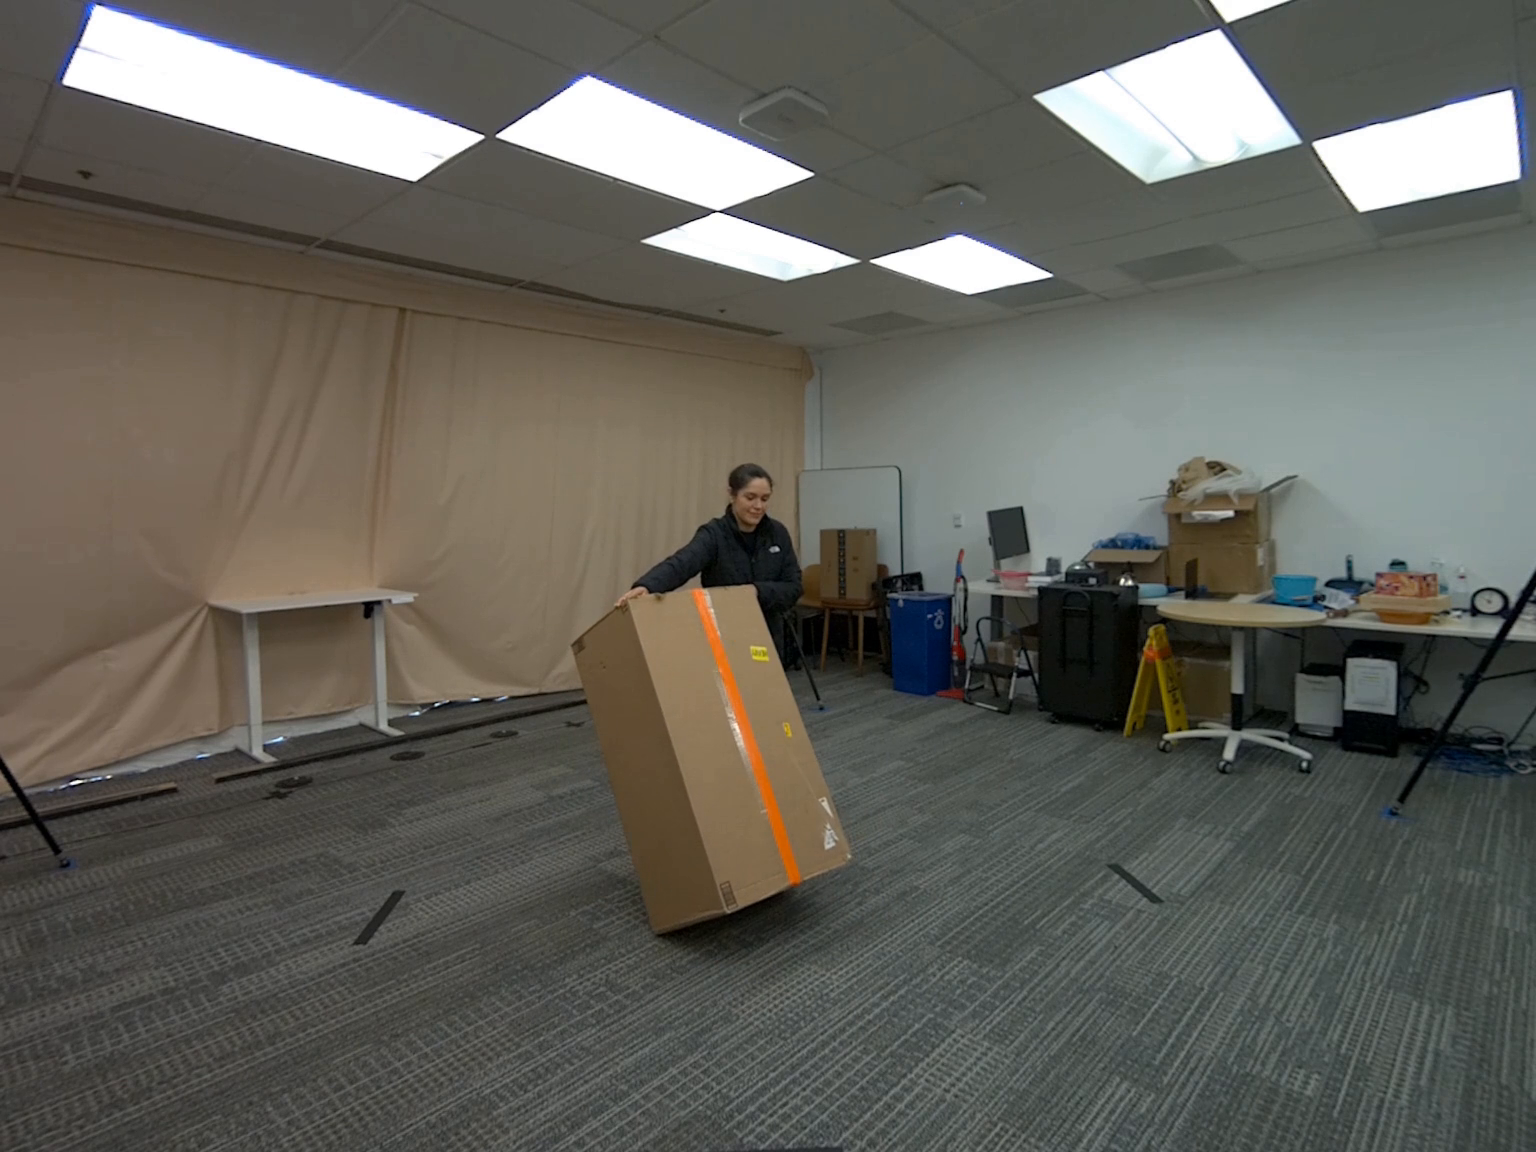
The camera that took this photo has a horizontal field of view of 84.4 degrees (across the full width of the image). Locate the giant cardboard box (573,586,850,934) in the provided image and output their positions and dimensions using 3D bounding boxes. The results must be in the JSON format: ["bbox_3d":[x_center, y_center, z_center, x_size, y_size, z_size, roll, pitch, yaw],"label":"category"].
[{"bbox_3d":[-0.198,0.600,2.944,0.560,1.043,0.432,-3,-25,-43],"label":"giant cardboard box"}]
